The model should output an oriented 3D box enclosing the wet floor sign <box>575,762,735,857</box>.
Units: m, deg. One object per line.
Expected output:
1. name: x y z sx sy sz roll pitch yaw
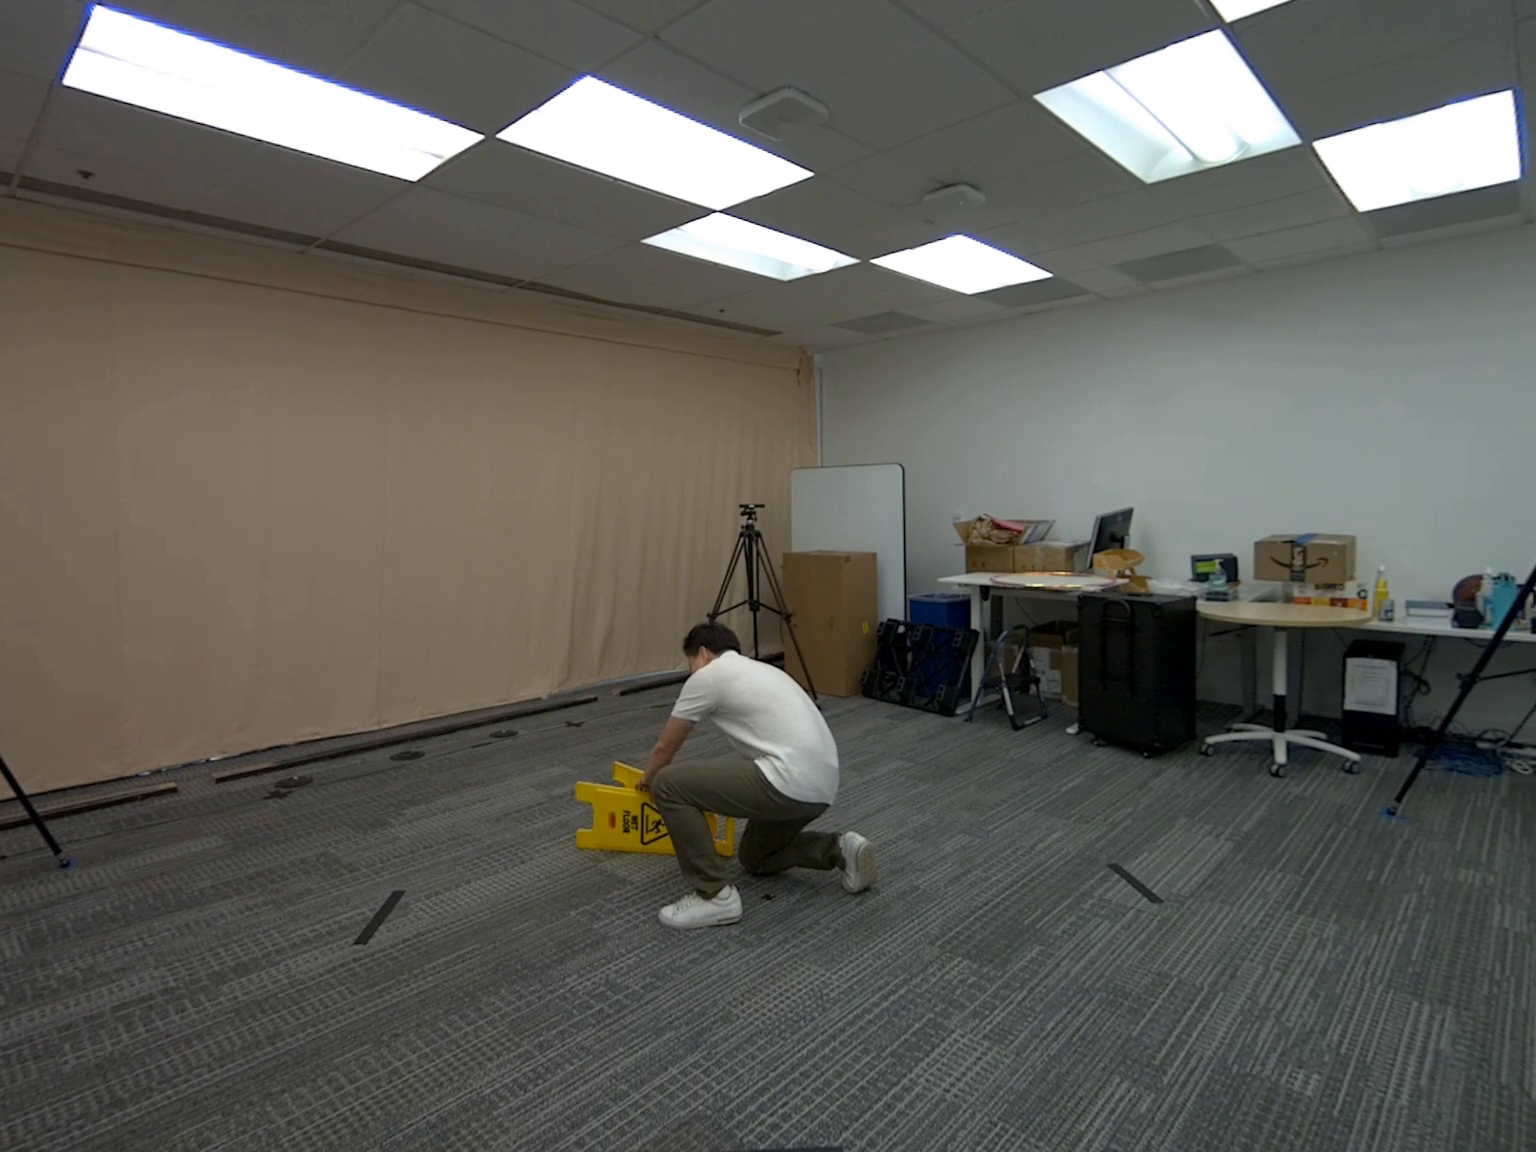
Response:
1. wet floor sign: -0.435 0.982 3.442 0.661 0.281 0.284 4 5 22
